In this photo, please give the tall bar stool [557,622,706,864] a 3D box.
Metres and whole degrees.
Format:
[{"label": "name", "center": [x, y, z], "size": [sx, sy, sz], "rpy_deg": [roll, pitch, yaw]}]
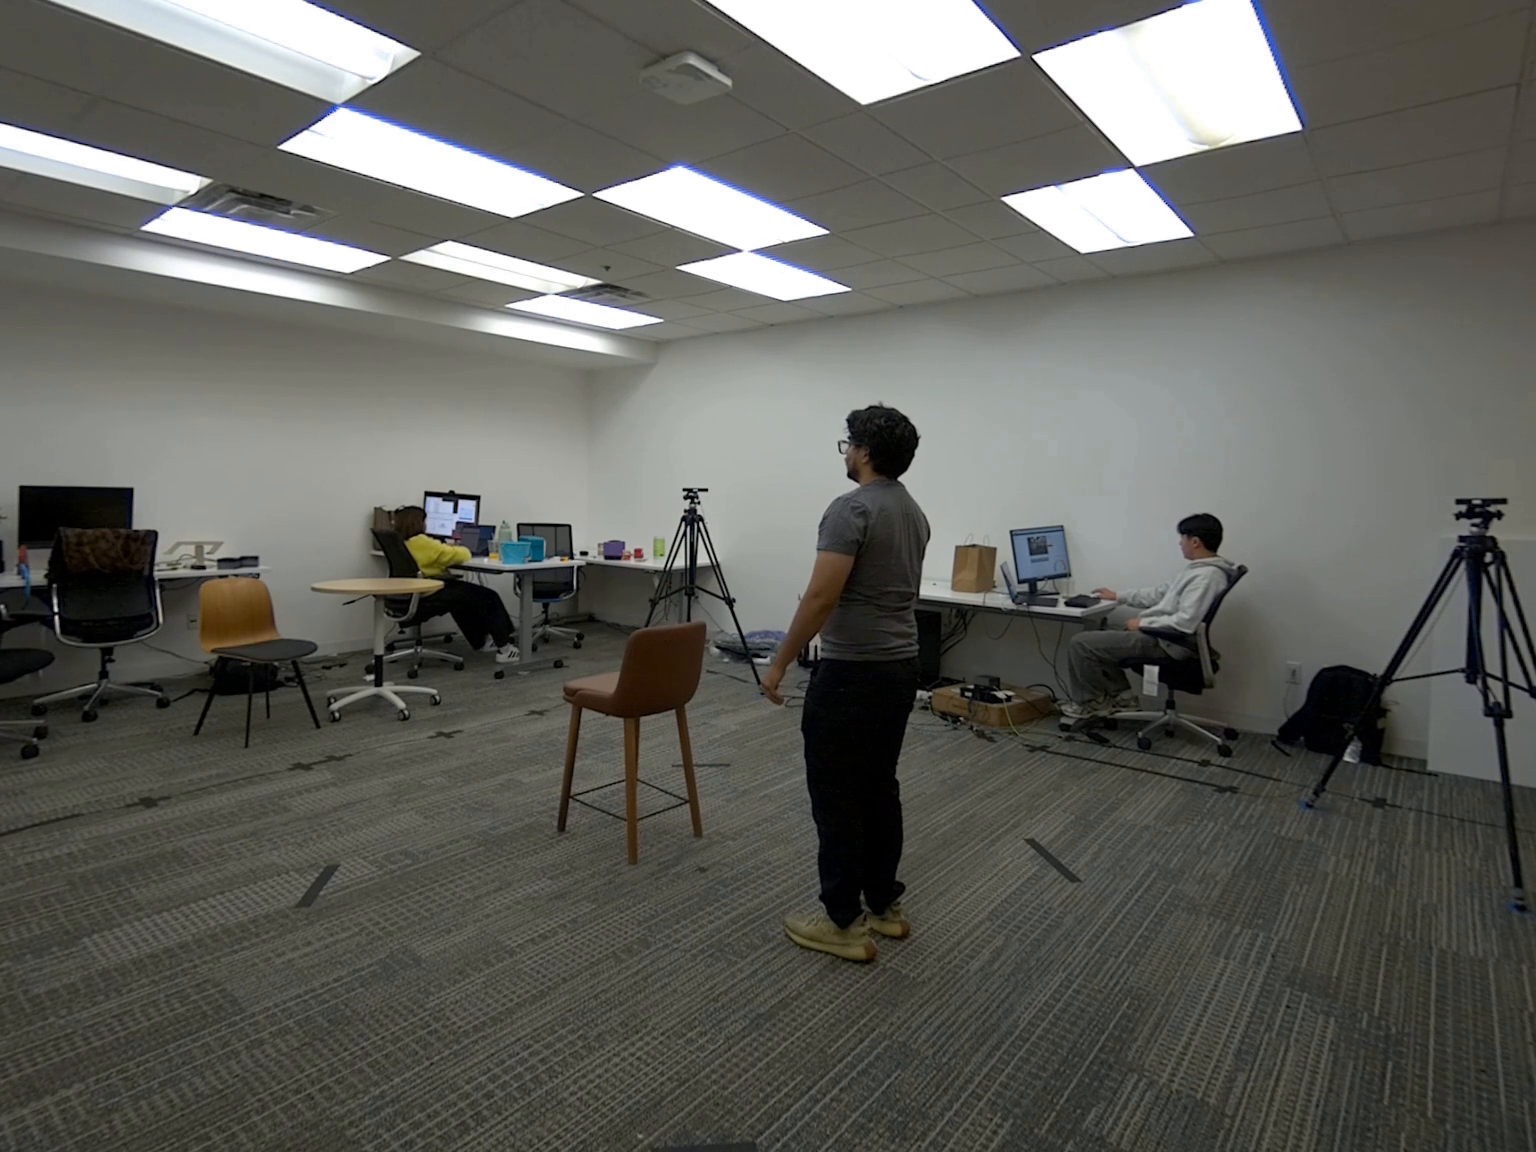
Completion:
[{"label": "tall bar stool", "center": [-0.550, 0.601, 3.403], "size": [0.484, 0.887, 0.442], "rpy_deg": [6, 5, 41]}]
